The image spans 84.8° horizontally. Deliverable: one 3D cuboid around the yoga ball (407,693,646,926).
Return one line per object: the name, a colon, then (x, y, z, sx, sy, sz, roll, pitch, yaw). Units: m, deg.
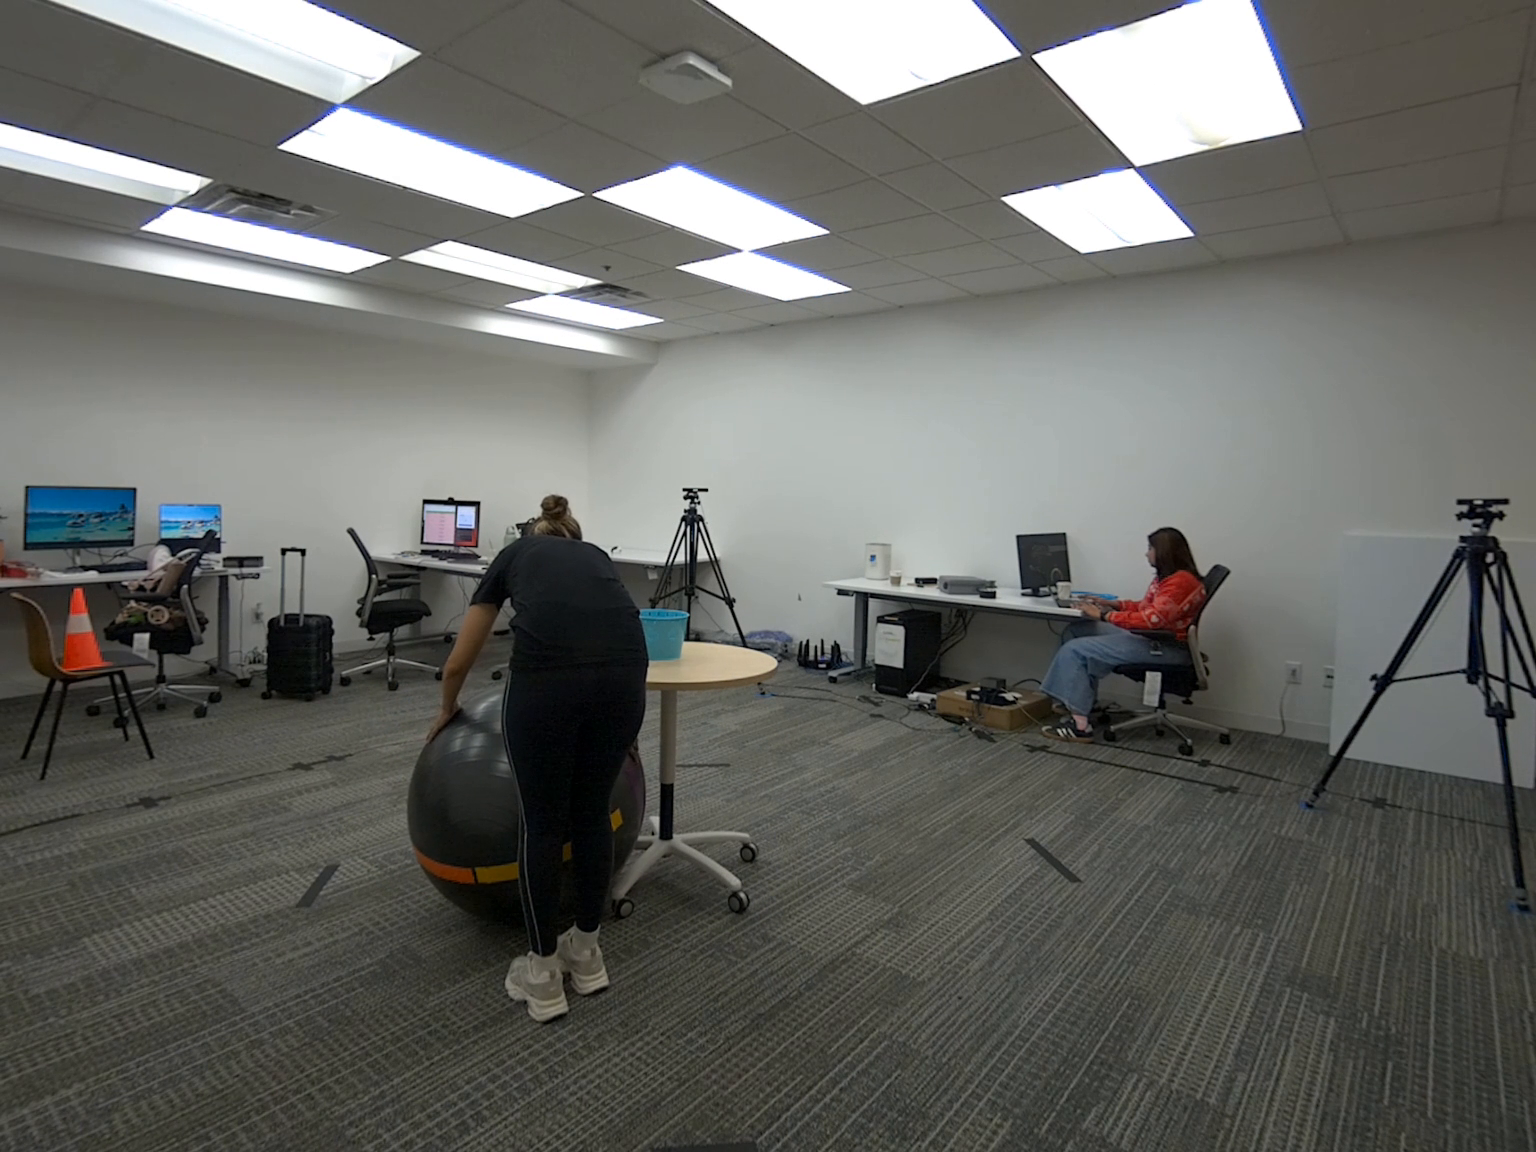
yoga ball: (-0.794, 0.732, 2.778, 0.757, 0.756, 0.761, 1, 4, -2)
